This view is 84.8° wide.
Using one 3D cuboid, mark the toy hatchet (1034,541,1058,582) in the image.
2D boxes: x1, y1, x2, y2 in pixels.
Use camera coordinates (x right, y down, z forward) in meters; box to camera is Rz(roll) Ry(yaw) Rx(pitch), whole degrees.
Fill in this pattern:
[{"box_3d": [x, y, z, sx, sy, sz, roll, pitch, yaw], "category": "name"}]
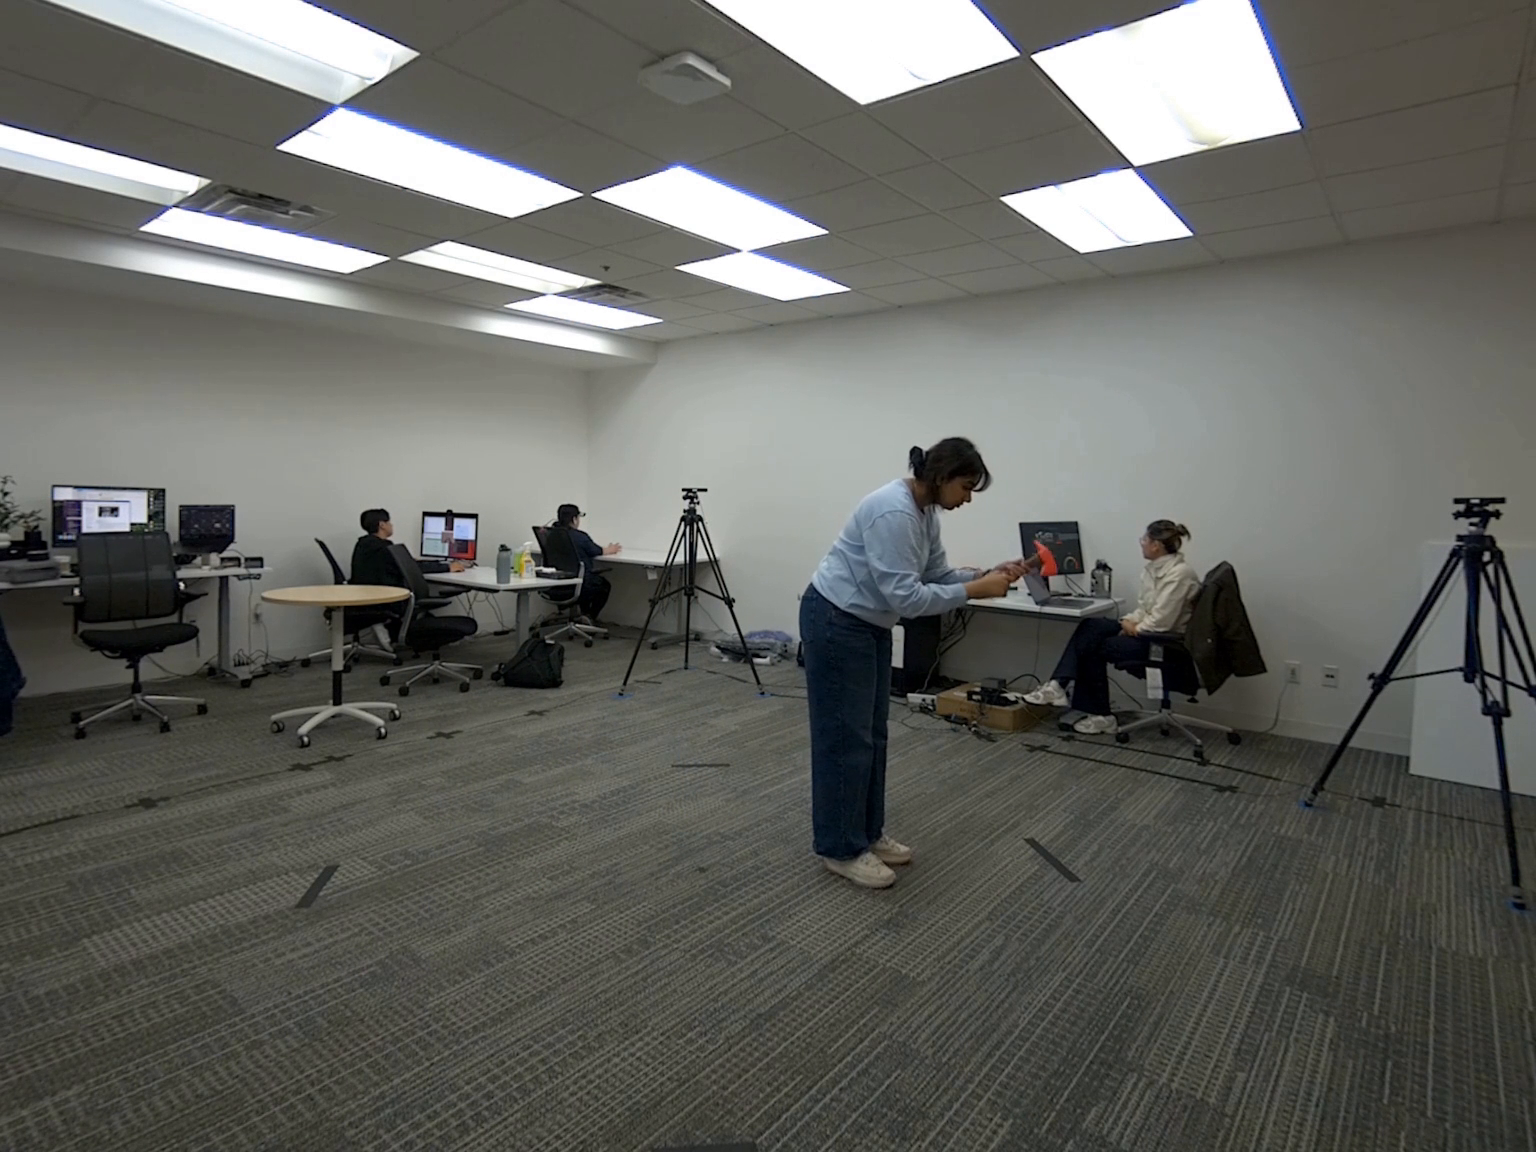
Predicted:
[{"box_3d": [0.876, 0.000, 2.908, 0.269, 0.133, 0.029, -40, -11, -20], "category": "toy hatchet"}]
